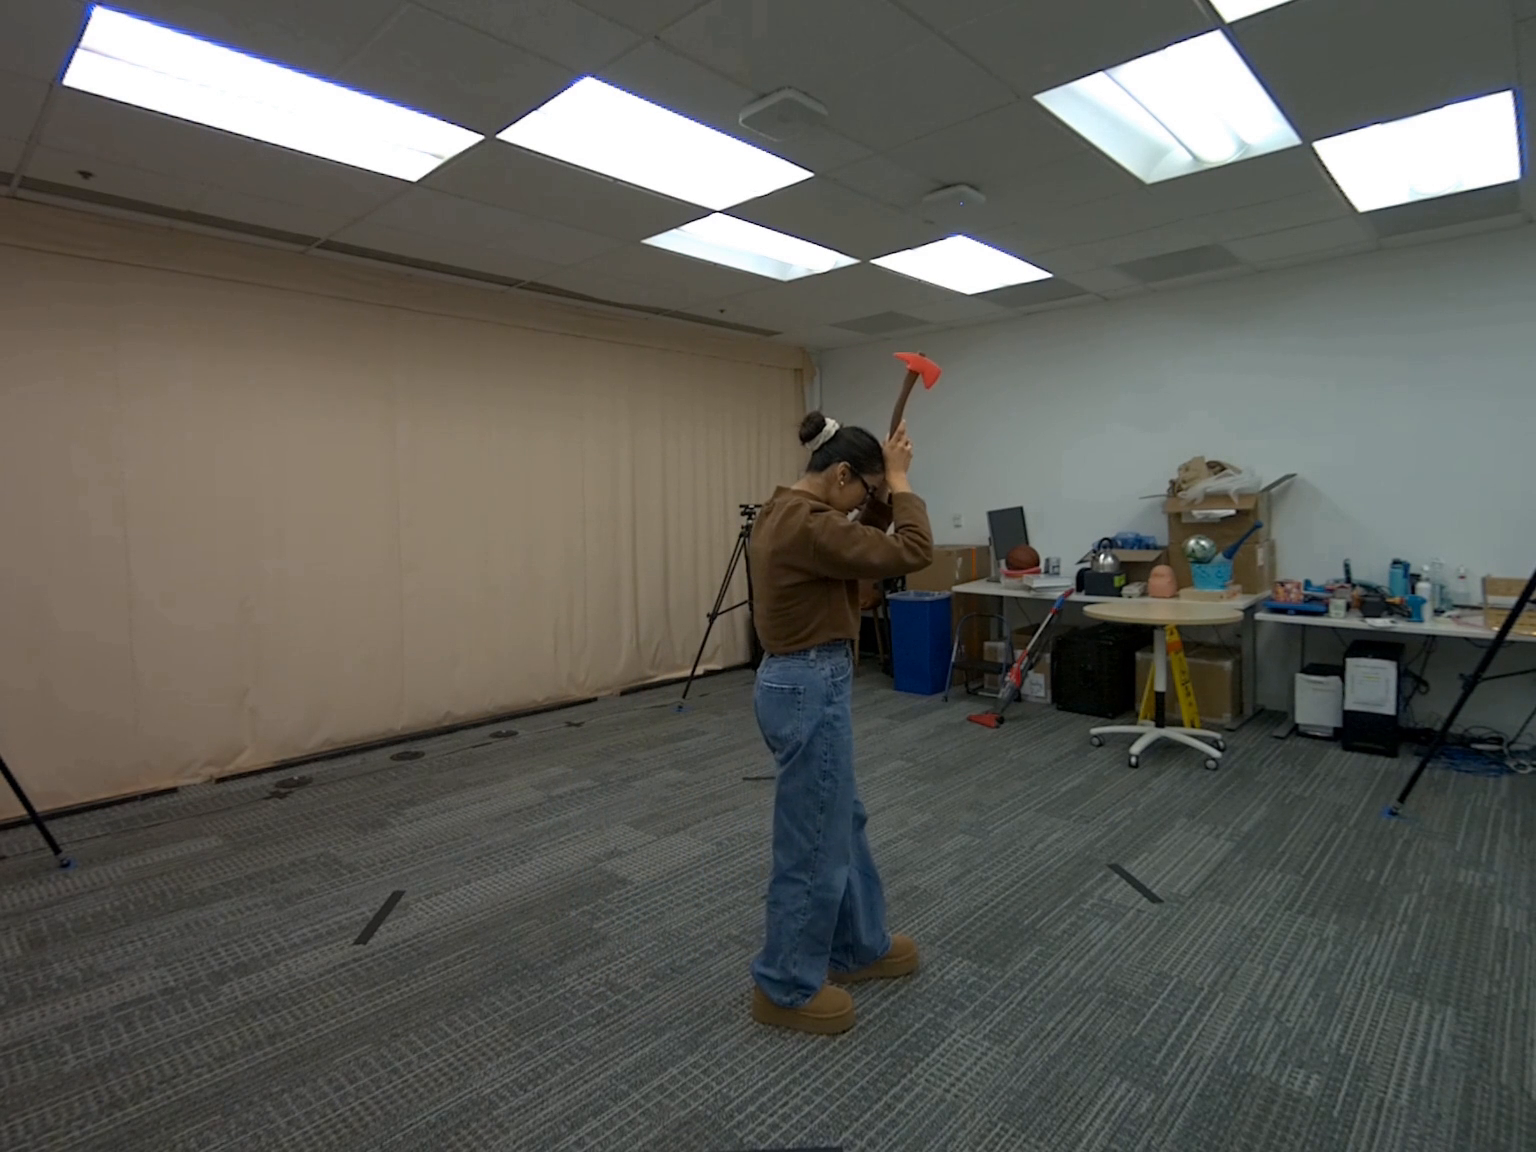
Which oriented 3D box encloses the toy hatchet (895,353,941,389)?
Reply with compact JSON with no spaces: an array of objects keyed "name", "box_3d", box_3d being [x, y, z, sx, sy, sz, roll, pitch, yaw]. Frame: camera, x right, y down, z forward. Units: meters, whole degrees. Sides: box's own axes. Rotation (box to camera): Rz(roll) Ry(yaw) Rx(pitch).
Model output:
[{"name":"toy hatchet","box_3d":[0.392,-0.463,2.230,0.130,0.268,0.030,1,11,-9]}]
